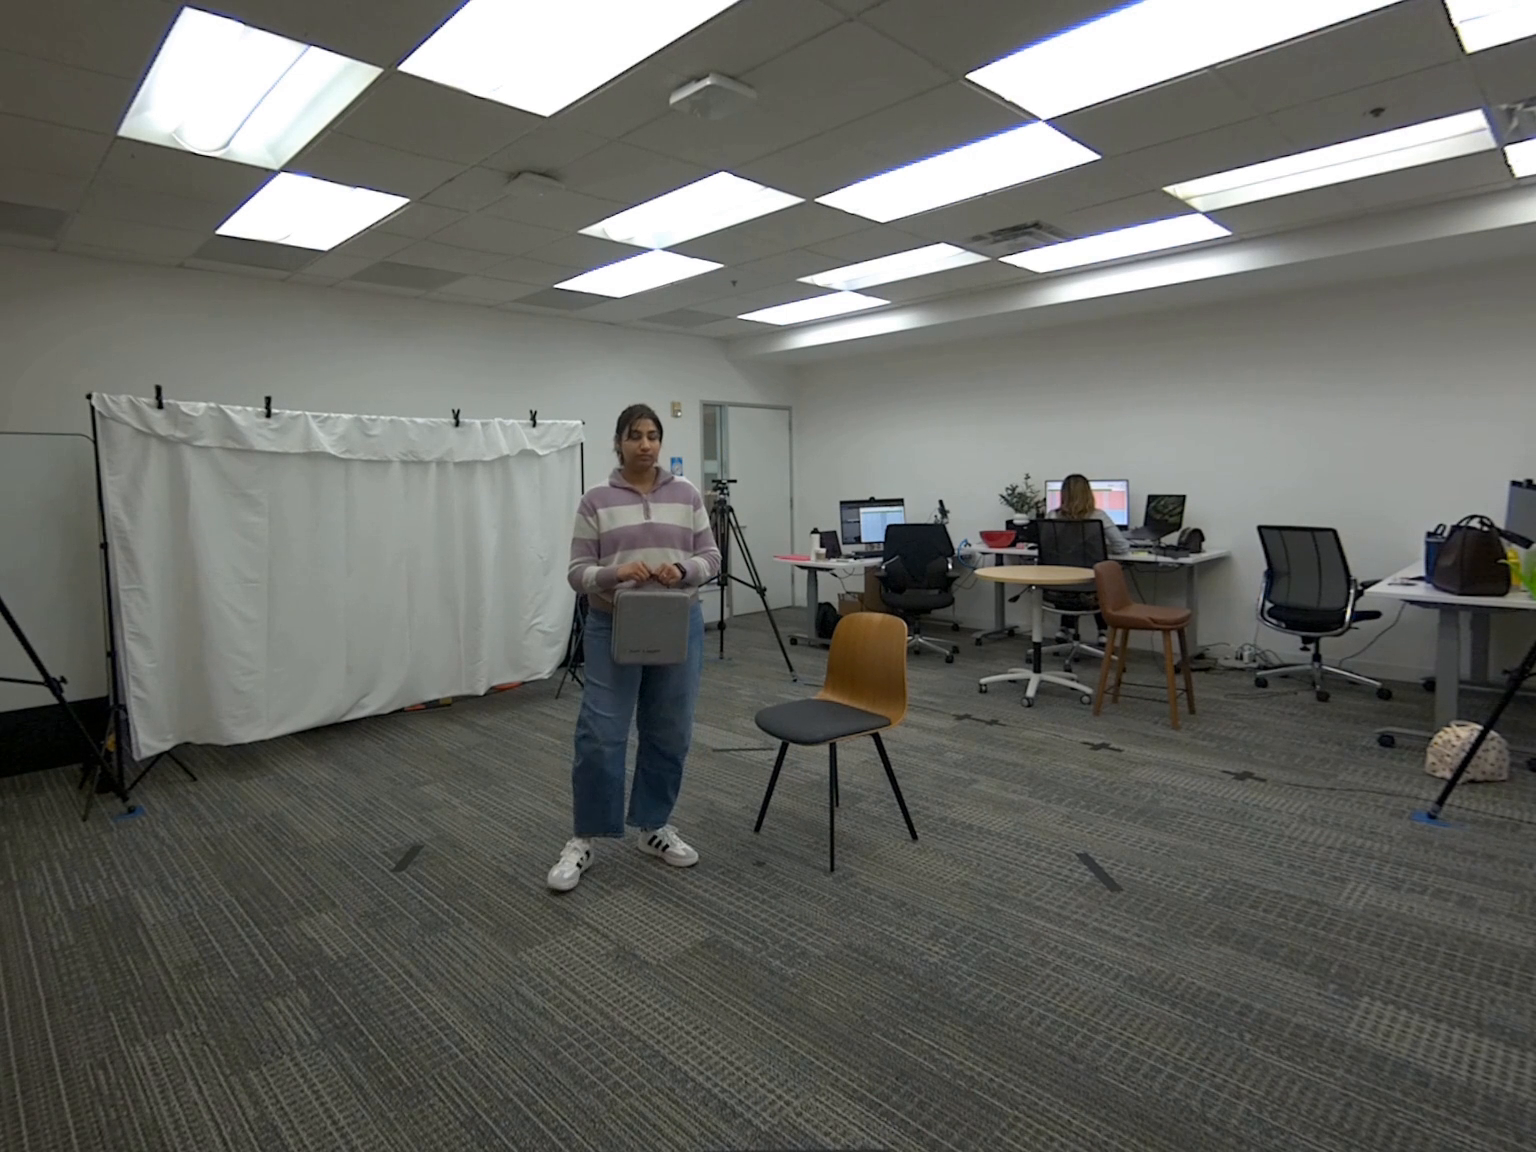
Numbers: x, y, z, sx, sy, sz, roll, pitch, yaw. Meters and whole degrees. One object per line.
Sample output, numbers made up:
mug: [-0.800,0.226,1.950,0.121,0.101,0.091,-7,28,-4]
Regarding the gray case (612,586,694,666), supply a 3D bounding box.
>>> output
gray case: [-0.402,0.171,2.885,0.252,0.259,0.107,3,7,-21]
